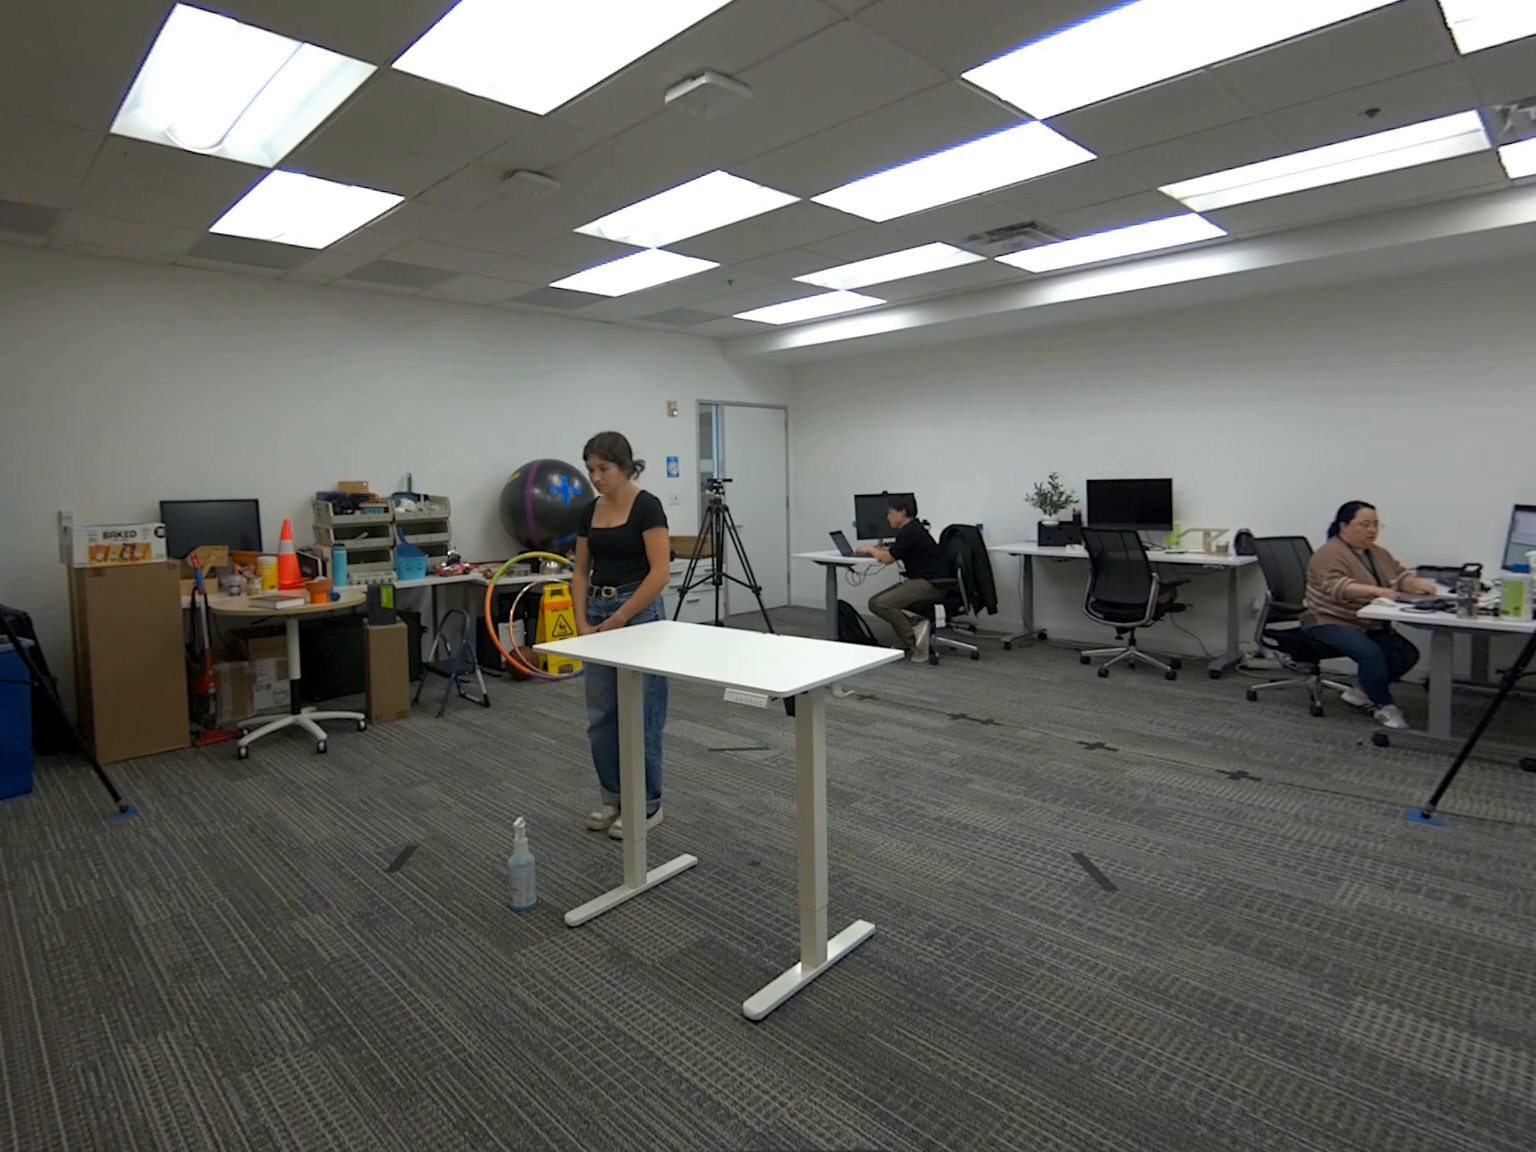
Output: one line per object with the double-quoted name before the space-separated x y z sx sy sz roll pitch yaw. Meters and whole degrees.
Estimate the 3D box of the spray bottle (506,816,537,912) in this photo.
"spray bottle" -0.816 0.952 2.822 0.089 0.296 0.088 3 5 22
